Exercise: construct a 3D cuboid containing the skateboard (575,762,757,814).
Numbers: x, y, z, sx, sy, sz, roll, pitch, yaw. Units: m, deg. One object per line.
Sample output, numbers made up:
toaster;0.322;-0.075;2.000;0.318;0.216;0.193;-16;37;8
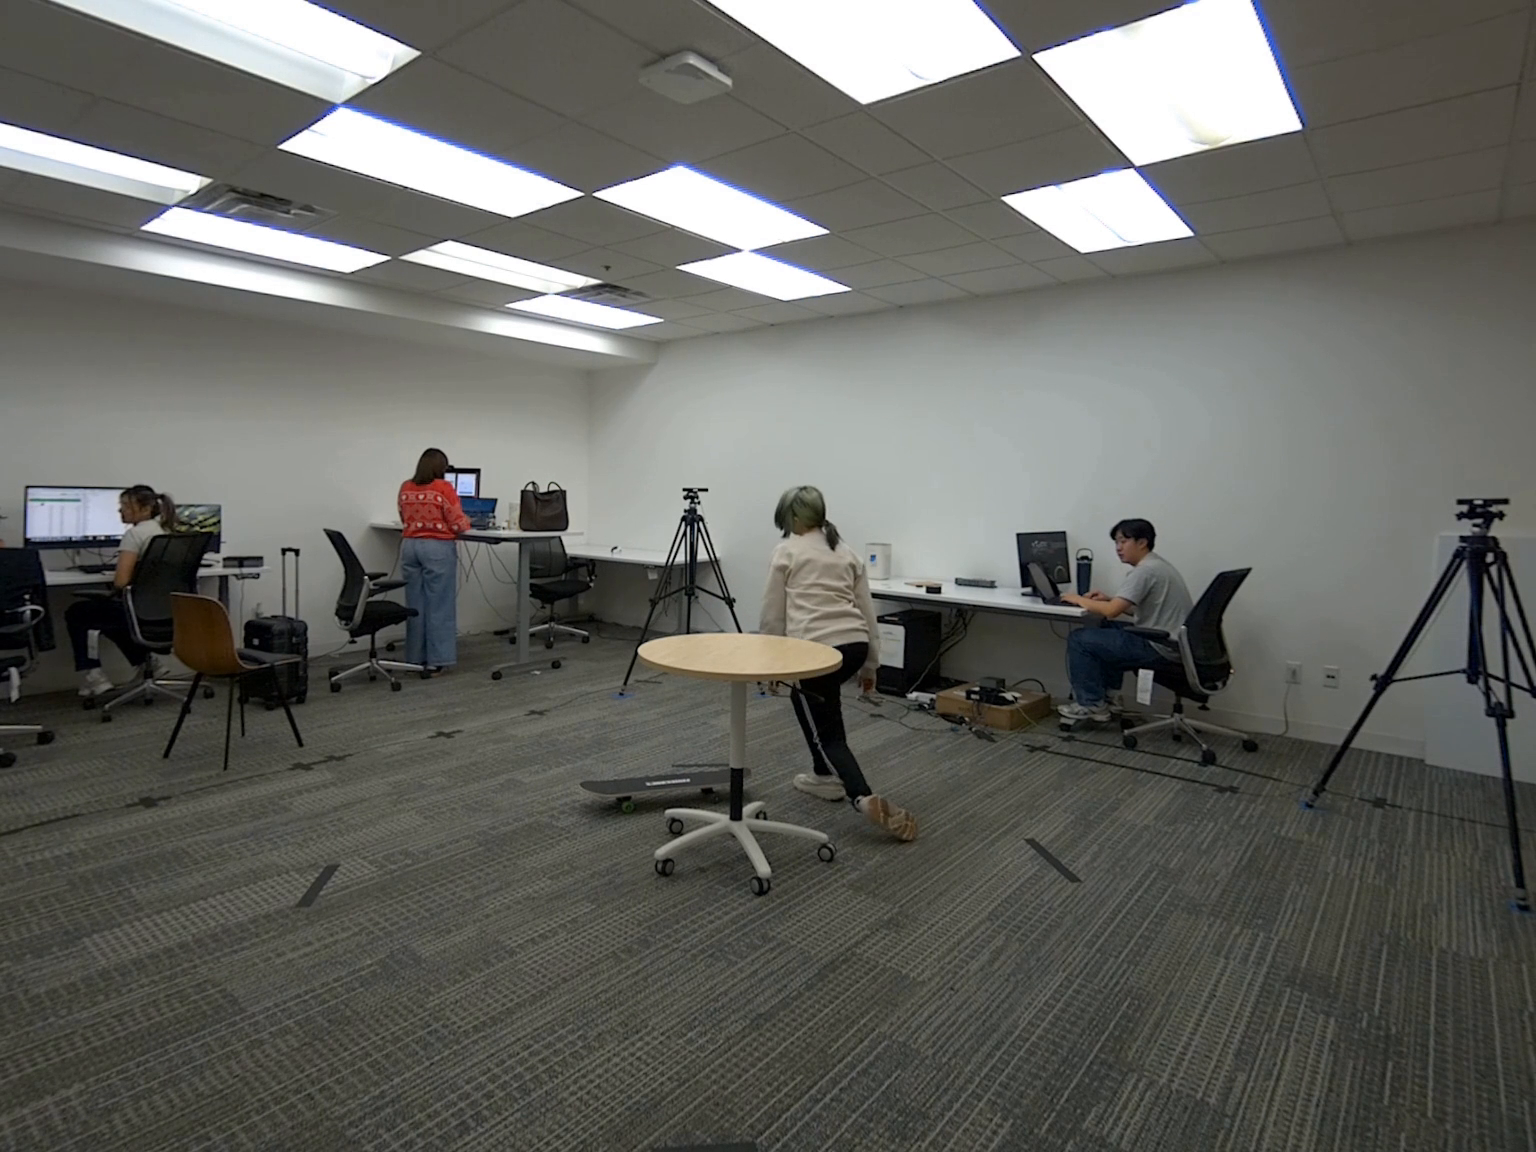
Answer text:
skateboard;-0.456;0.943;3.772;0.770;0.110;0.197;1;3;-19
